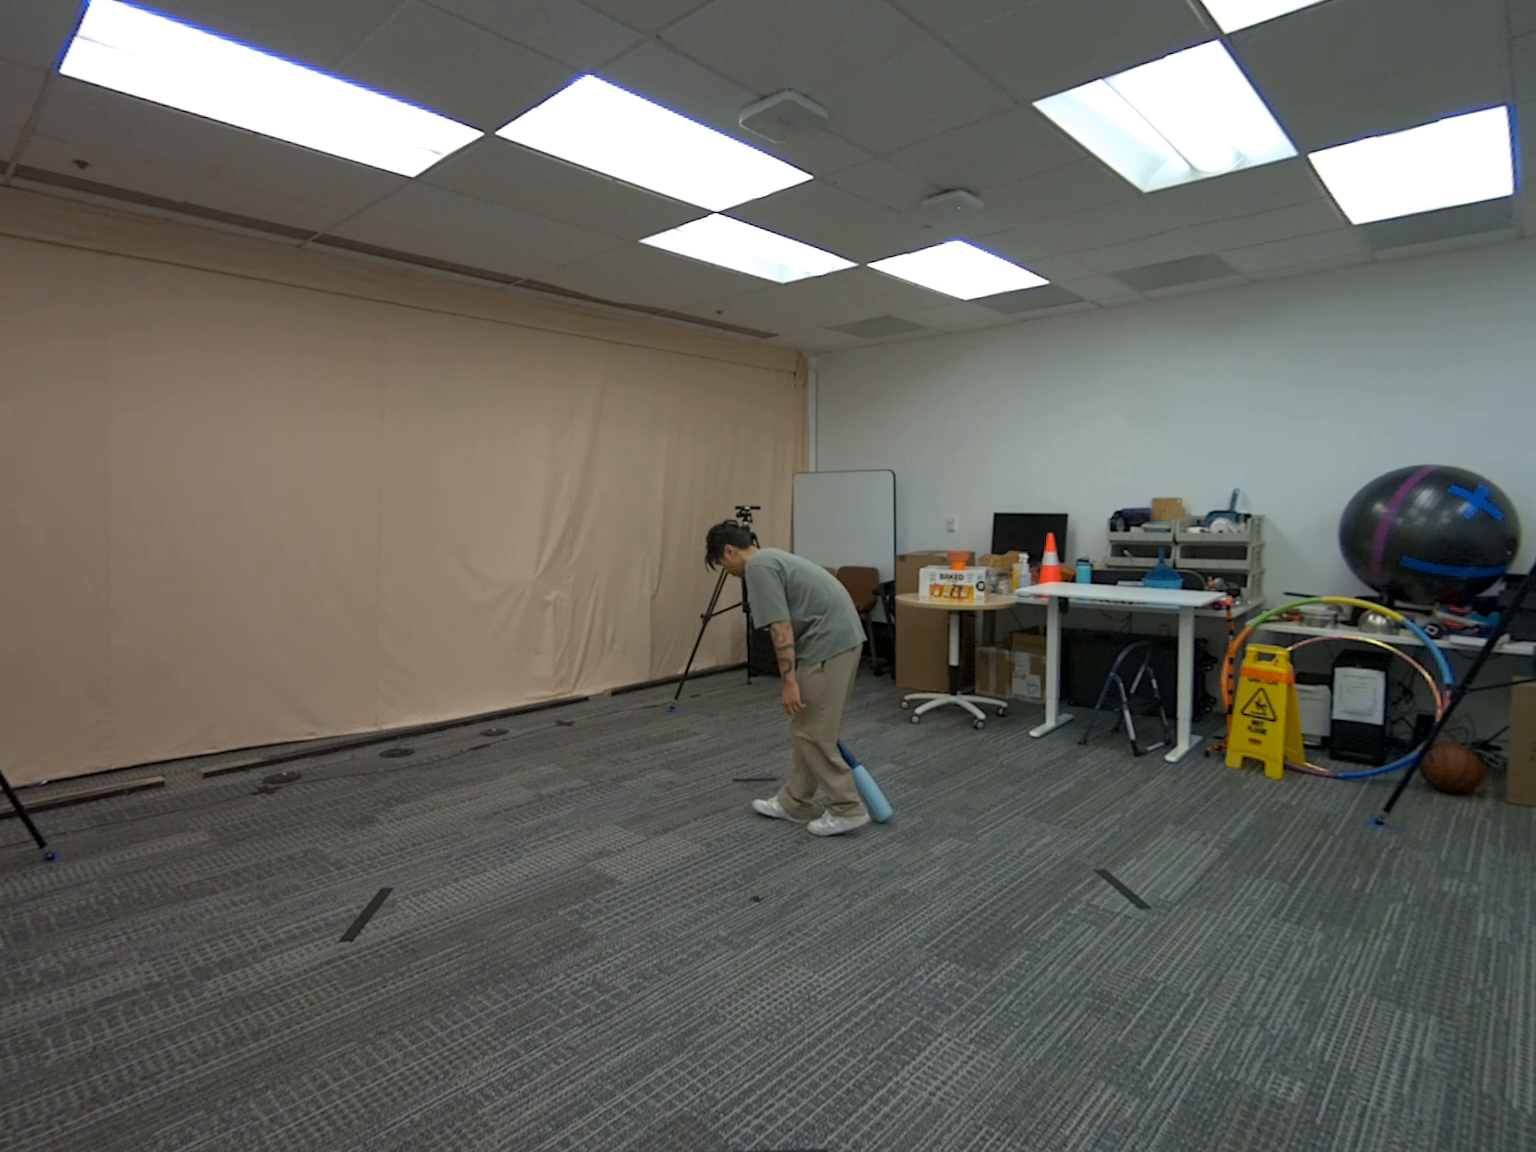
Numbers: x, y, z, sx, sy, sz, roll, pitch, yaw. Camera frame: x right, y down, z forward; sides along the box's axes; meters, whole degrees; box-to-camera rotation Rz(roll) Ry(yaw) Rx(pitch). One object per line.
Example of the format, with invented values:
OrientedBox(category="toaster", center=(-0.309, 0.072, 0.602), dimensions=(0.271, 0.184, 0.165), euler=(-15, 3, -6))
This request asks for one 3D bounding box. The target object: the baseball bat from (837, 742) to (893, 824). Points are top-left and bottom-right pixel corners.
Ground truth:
OrientedBox(category="baseball bat", center=(0.385, 0.851, 3.780), dimensions=(0.088, 0.555, 0.088), euler=(-29, -22, -14))
